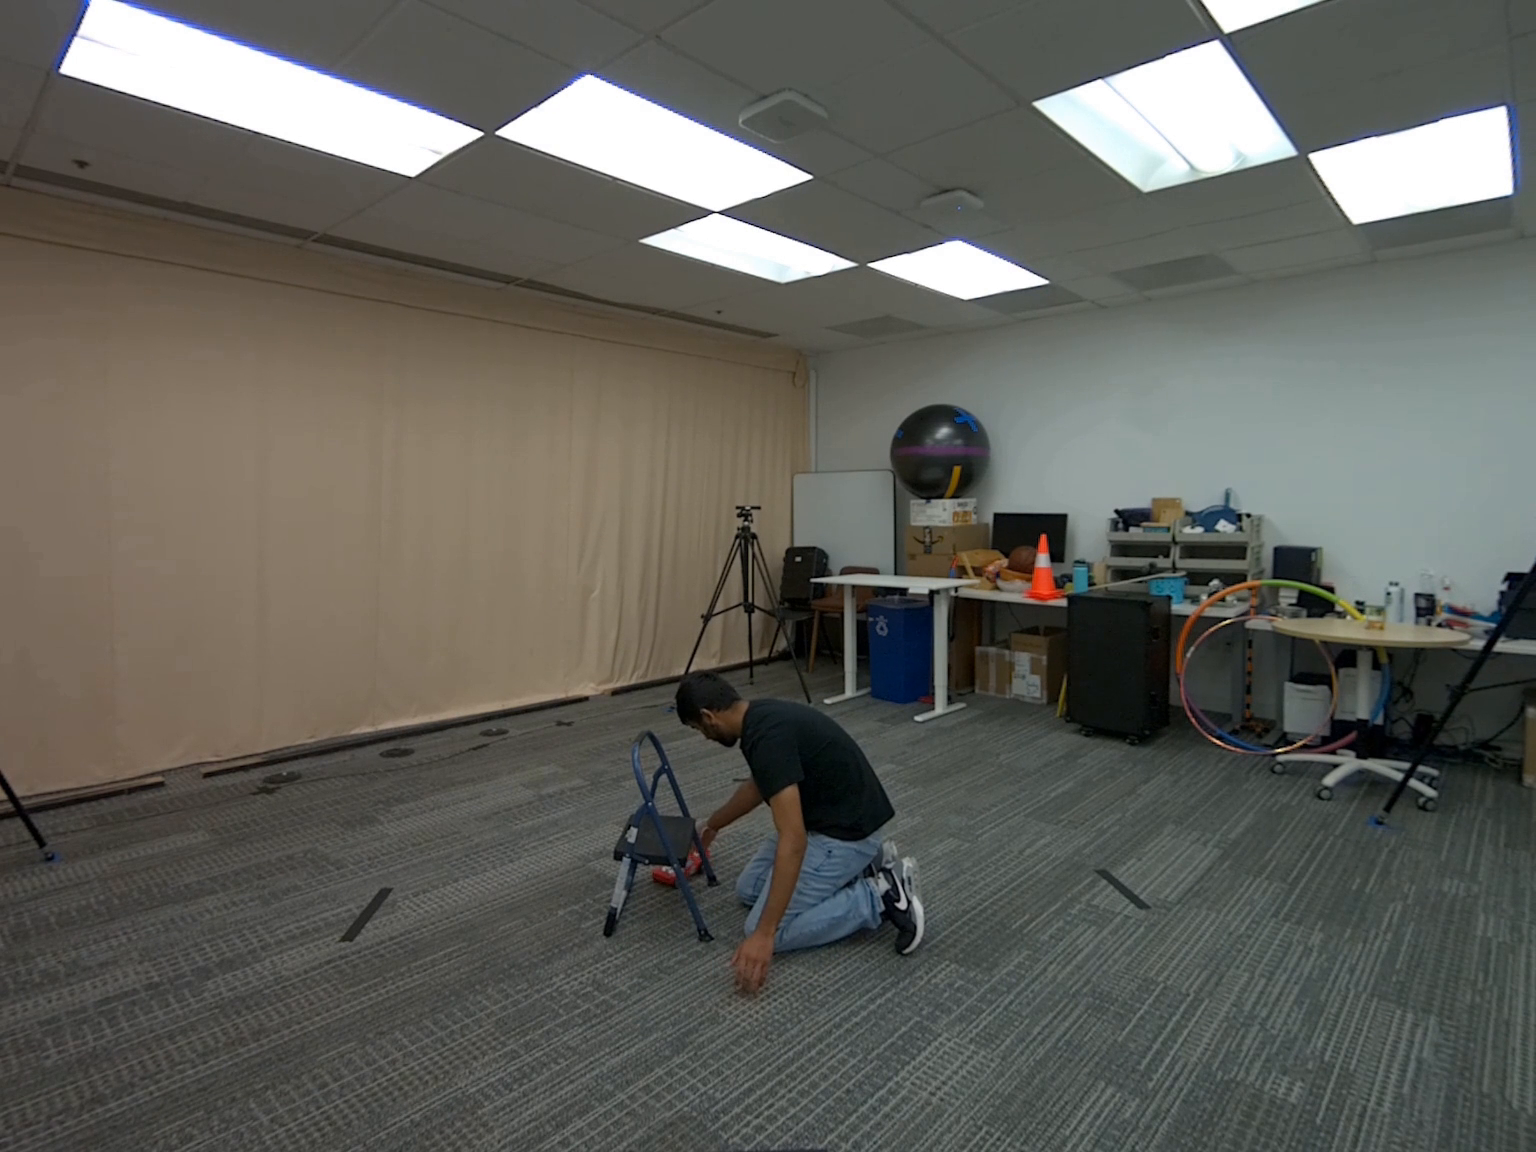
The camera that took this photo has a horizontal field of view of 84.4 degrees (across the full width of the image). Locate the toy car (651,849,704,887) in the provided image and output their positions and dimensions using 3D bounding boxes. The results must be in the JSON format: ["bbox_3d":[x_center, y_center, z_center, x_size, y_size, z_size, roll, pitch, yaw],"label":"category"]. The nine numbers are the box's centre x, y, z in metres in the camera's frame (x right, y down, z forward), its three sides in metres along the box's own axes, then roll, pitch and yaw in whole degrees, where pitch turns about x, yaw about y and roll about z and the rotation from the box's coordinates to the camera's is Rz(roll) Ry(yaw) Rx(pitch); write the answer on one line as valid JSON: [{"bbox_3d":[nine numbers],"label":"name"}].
[{"bbox_3d":[-0.320,1.101,3.184,0.134,0.082,0.249,2,16,35],"label":"toy car"}]
